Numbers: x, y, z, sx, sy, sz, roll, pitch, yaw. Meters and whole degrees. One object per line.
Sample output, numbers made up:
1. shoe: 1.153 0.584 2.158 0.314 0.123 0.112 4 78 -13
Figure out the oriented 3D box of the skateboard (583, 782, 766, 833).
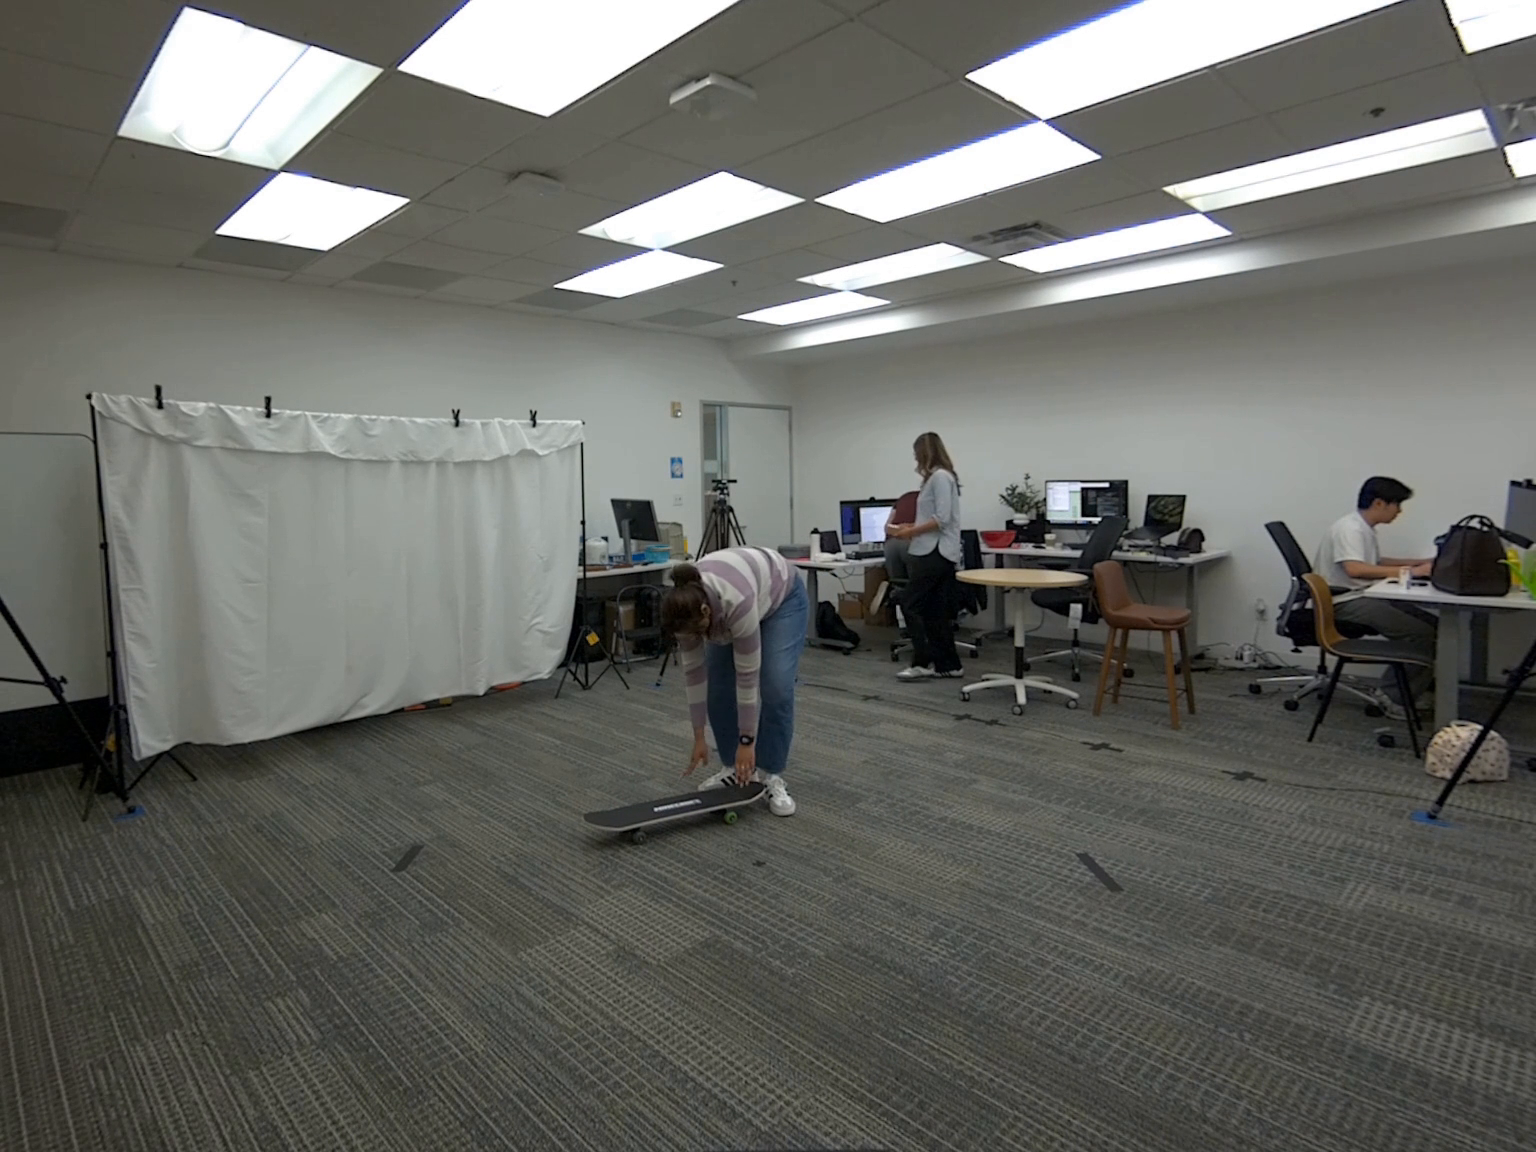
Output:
1. skateboard: -0.364 0.953 3.450 0.768 0.110 0.198 -4 6 -27
